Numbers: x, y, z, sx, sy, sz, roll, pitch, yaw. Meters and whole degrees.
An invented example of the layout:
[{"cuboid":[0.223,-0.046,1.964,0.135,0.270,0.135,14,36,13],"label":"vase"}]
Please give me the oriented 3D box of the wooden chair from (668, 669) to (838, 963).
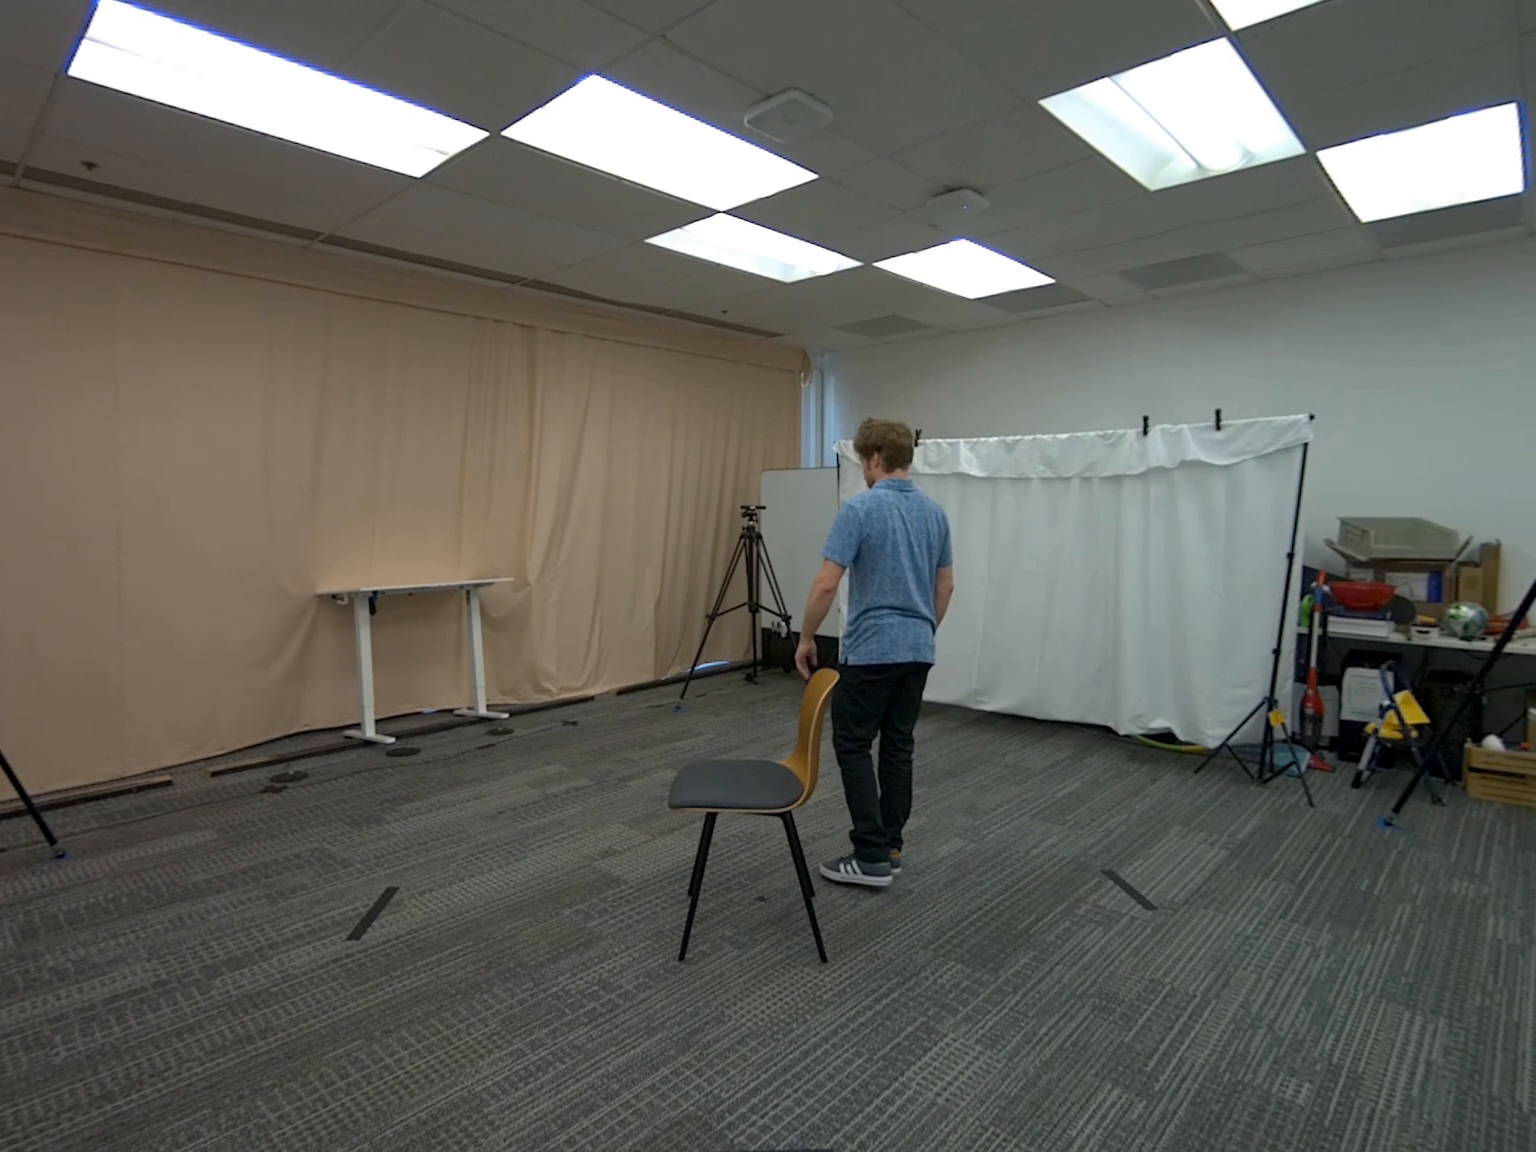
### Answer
[{"cuboid":[-0.061,0.739,2.753,0.523,0.875,0.479,4,4,-1],"label":"wooden chair"}]
